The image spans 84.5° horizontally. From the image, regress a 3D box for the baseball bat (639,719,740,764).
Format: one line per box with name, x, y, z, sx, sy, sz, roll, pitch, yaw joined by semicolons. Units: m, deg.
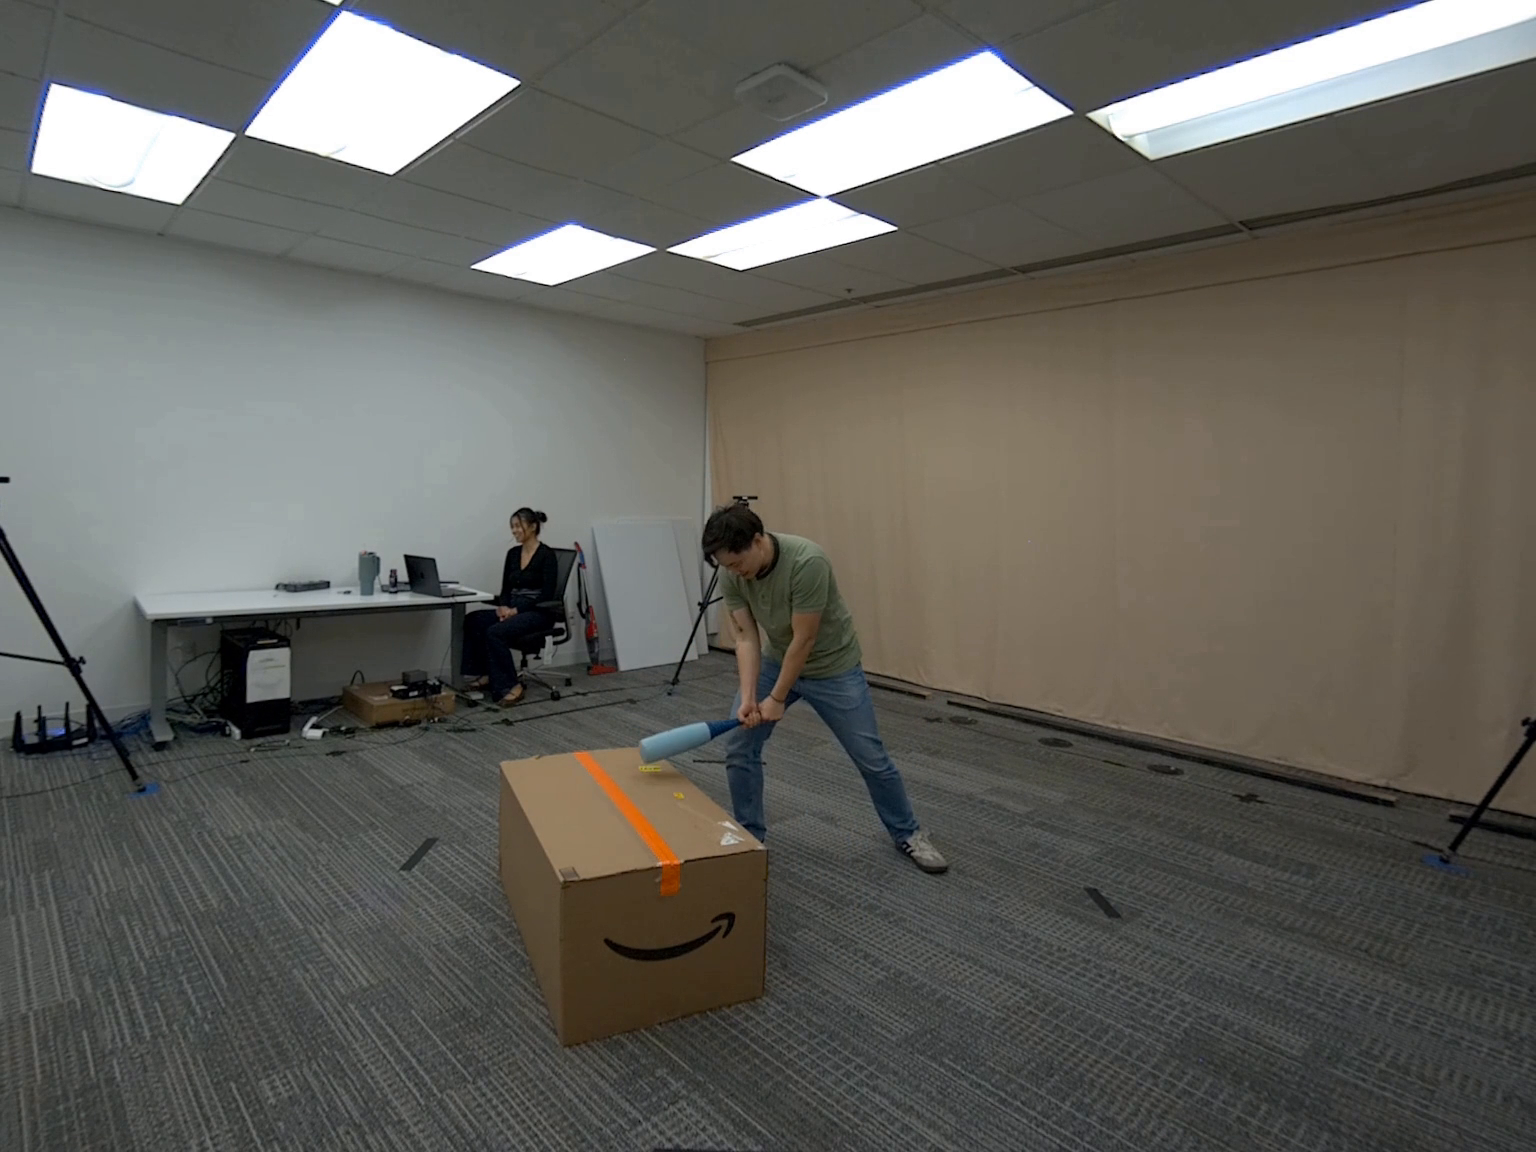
baseball bat;-0.201;0.547;2.993;0.537;0.088;0.091;-15;10;-21
